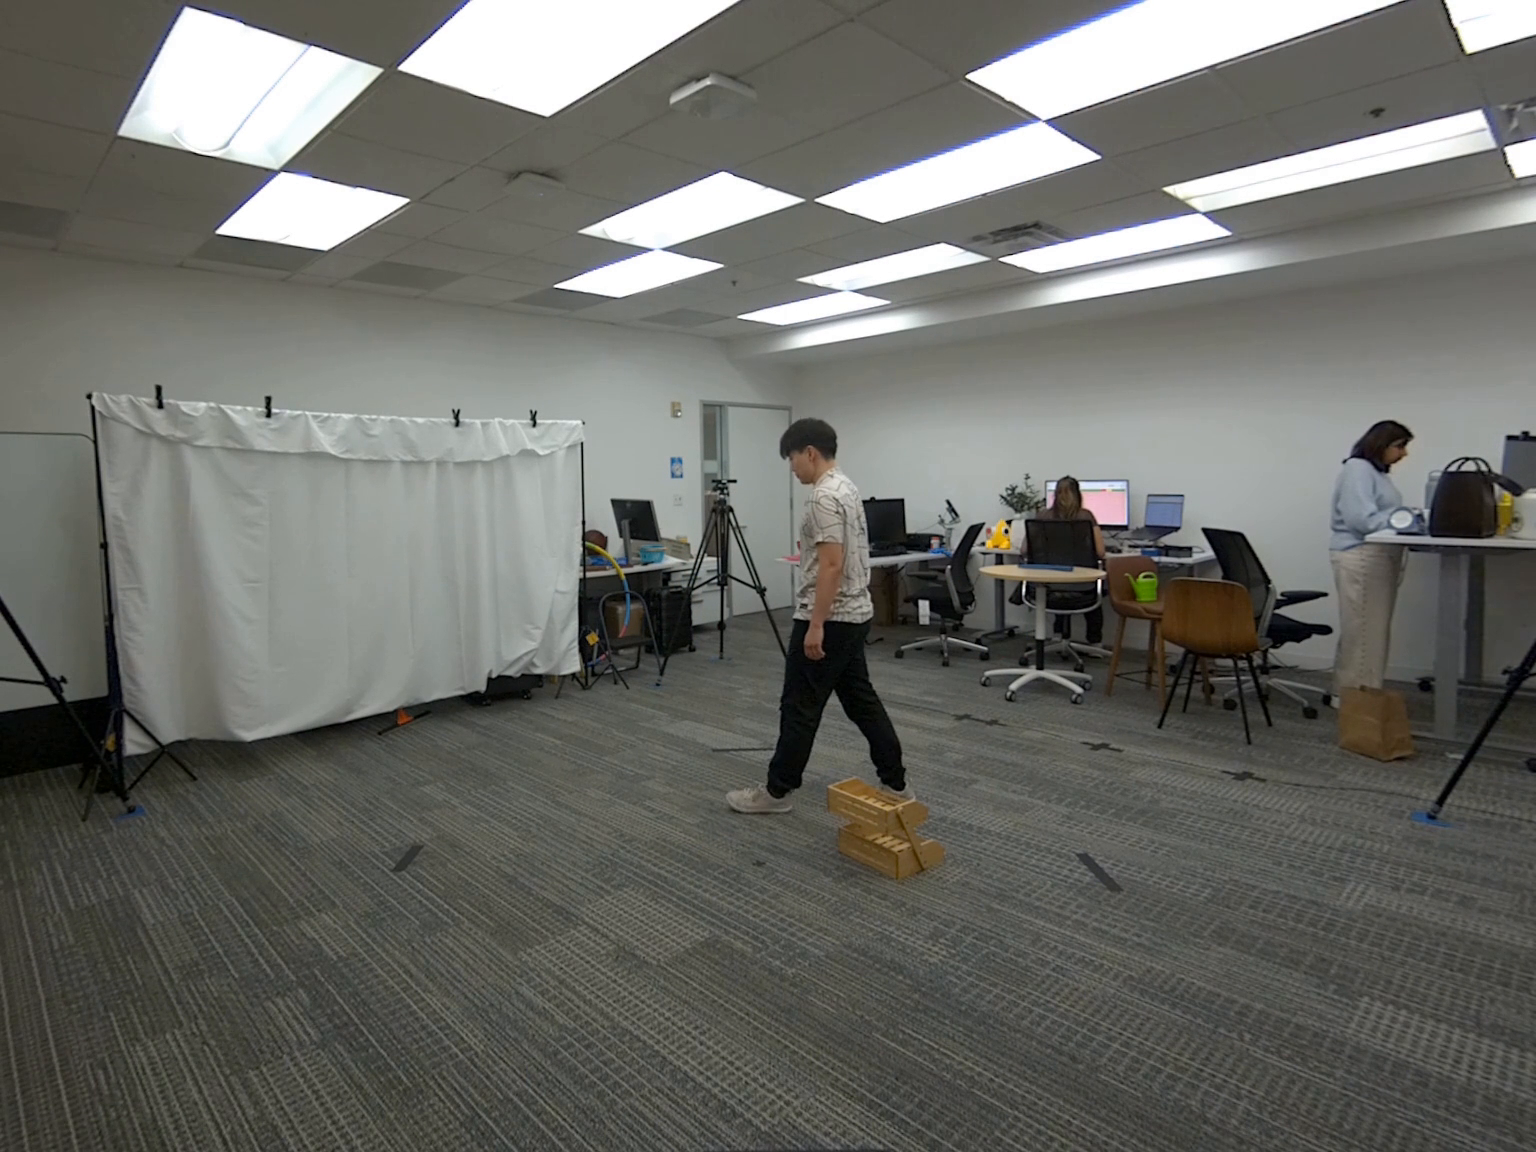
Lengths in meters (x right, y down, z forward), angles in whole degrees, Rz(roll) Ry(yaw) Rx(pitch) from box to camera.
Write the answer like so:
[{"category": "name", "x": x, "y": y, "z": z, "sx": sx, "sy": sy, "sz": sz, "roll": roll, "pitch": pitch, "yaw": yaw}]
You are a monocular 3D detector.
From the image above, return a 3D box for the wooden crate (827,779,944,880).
[{"category": "wooden crate", "x": 0.437, "y": 0.904, "z": 3.134, "sx": 0.294, "sy": 0.272, "sz": 0.334, "roll": -6, "pitch": 7, "yaw": -36}]
